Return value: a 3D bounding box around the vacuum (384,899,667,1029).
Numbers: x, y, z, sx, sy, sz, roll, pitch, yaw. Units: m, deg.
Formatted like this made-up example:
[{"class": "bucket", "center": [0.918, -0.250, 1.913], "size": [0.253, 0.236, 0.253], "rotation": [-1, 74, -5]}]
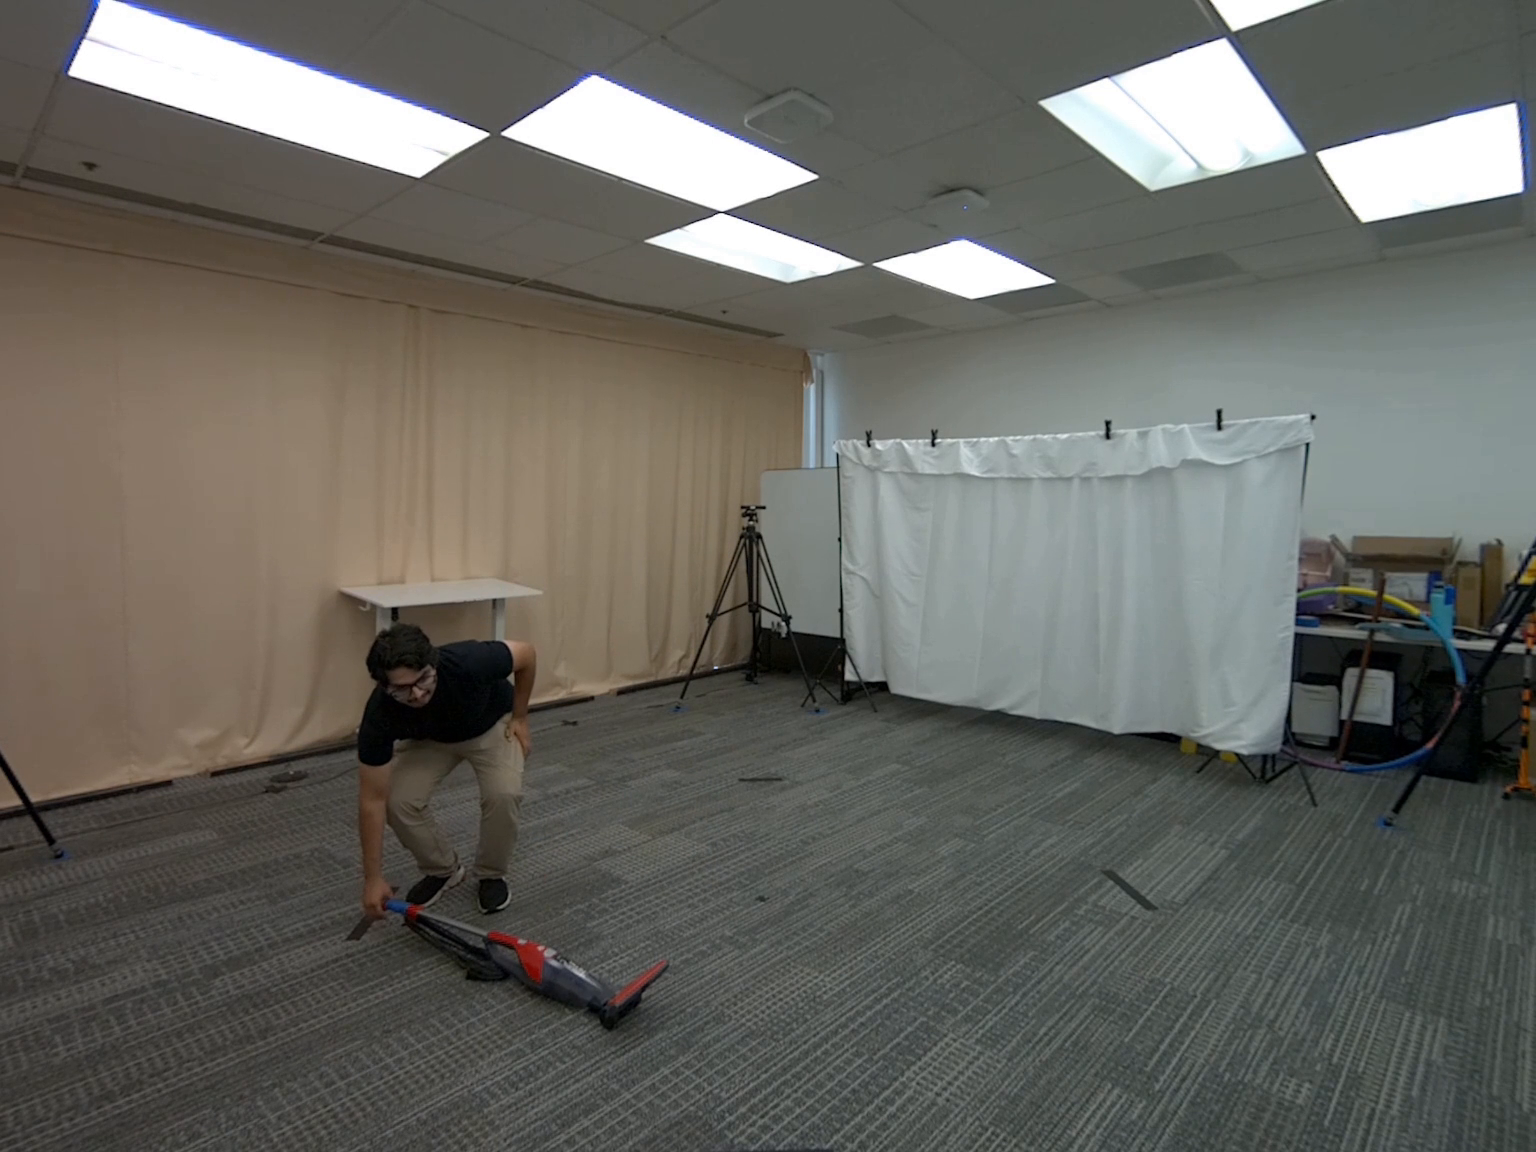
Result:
[{"class": "vacuum", "center": [-0.829, 1.128, 2.520], "size": [1.079, 0.143, 0.246], "rotation": [3, 5, 28]}]
